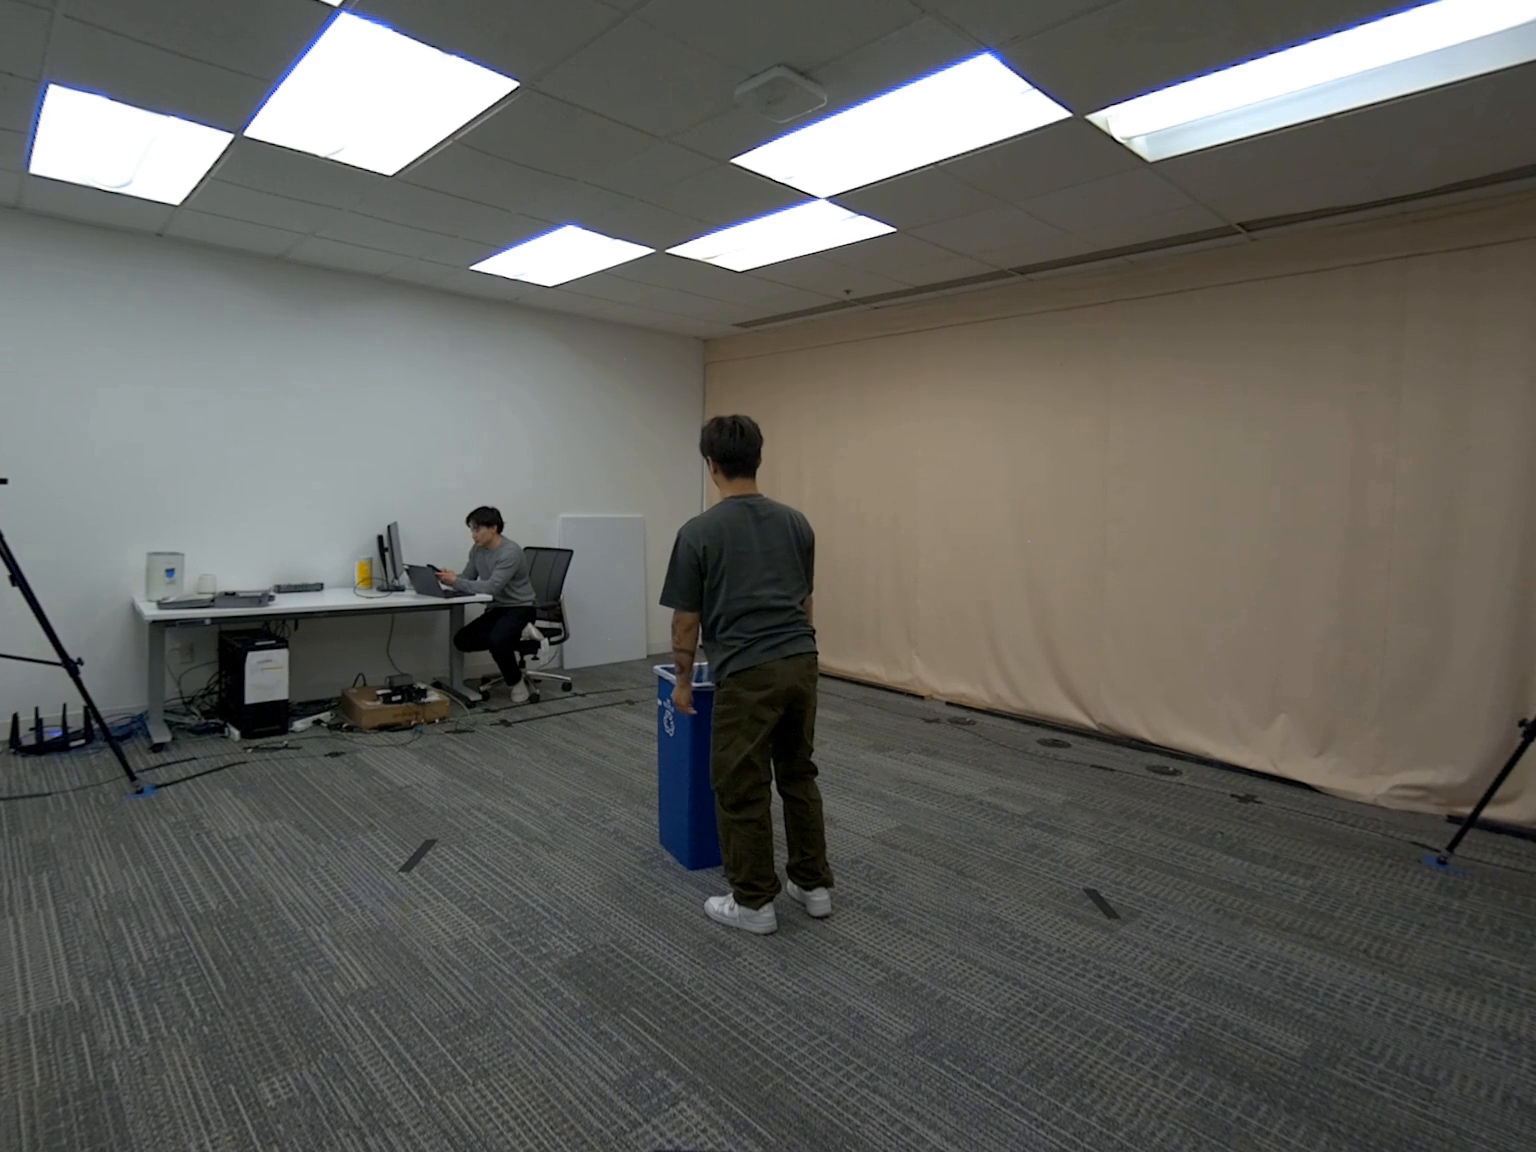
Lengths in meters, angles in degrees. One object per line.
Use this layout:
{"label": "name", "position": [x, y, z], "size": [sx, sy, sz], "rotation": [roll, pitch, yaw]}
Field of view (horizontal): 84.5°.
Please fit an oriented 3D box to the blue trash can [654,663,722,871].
{"label": "blue trash can", "position": [-0.238, 0.729, 3.306], "size": [0.366, 0.712, 0.386], "rotation": [0, 4, -30]}
